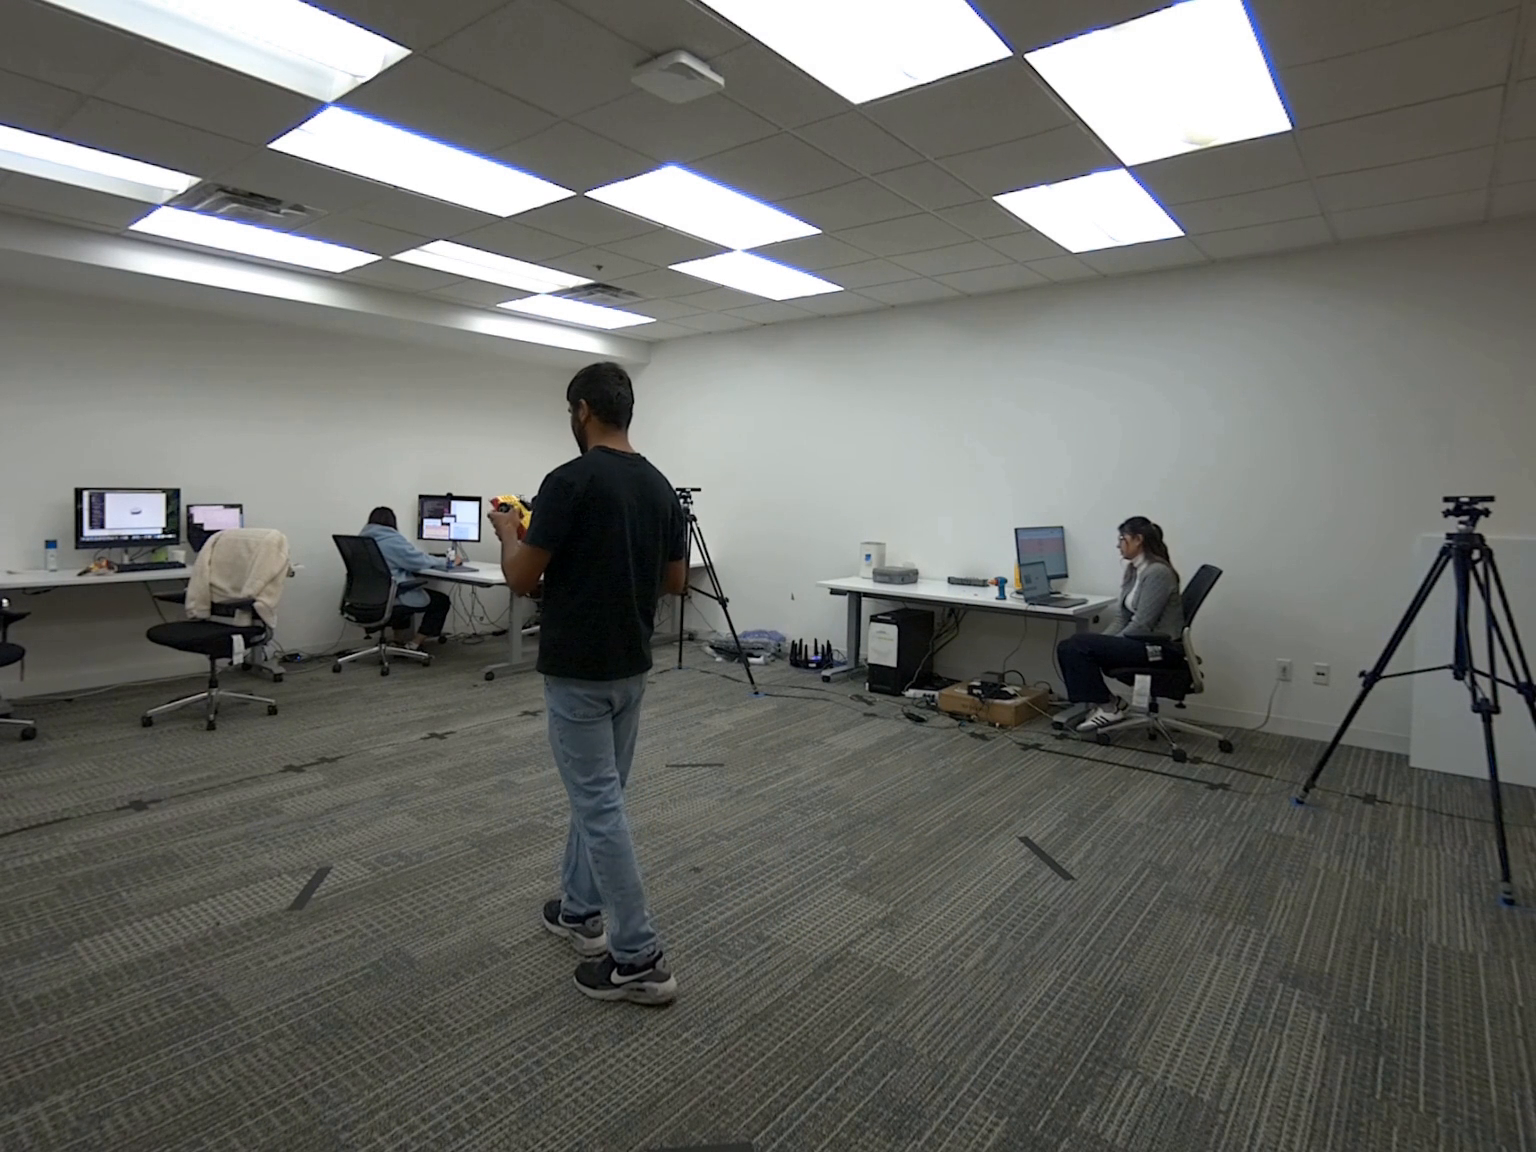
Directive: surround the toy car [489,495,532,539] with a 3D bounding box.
[{"bbox_3d":[-0.744,-0.165,2.584,0.261,0.083,0.128,38,21,17],"label":"toy car"}]
